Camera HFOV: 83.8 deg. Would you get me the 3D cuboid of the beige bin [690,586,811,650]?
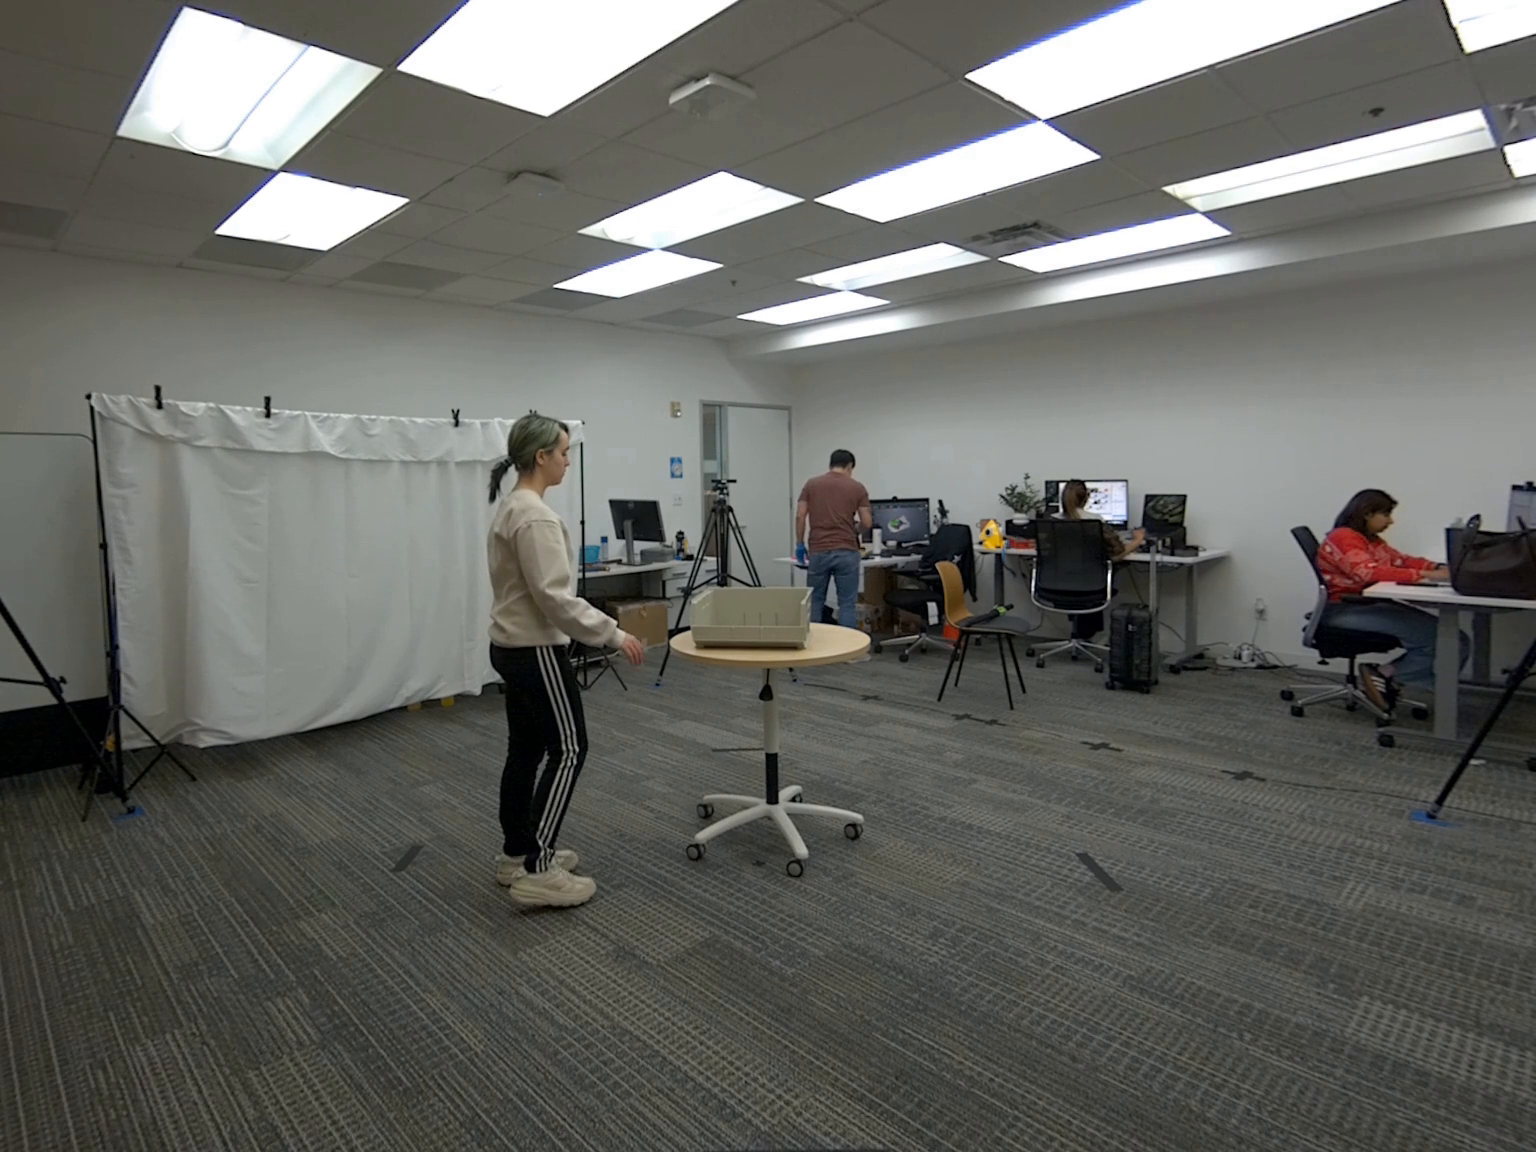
[{"bbox_3d":[-0.046,0.159,3.241,0.426,0.188,0.375,-1,4,8],"label":"beige bin"}]
